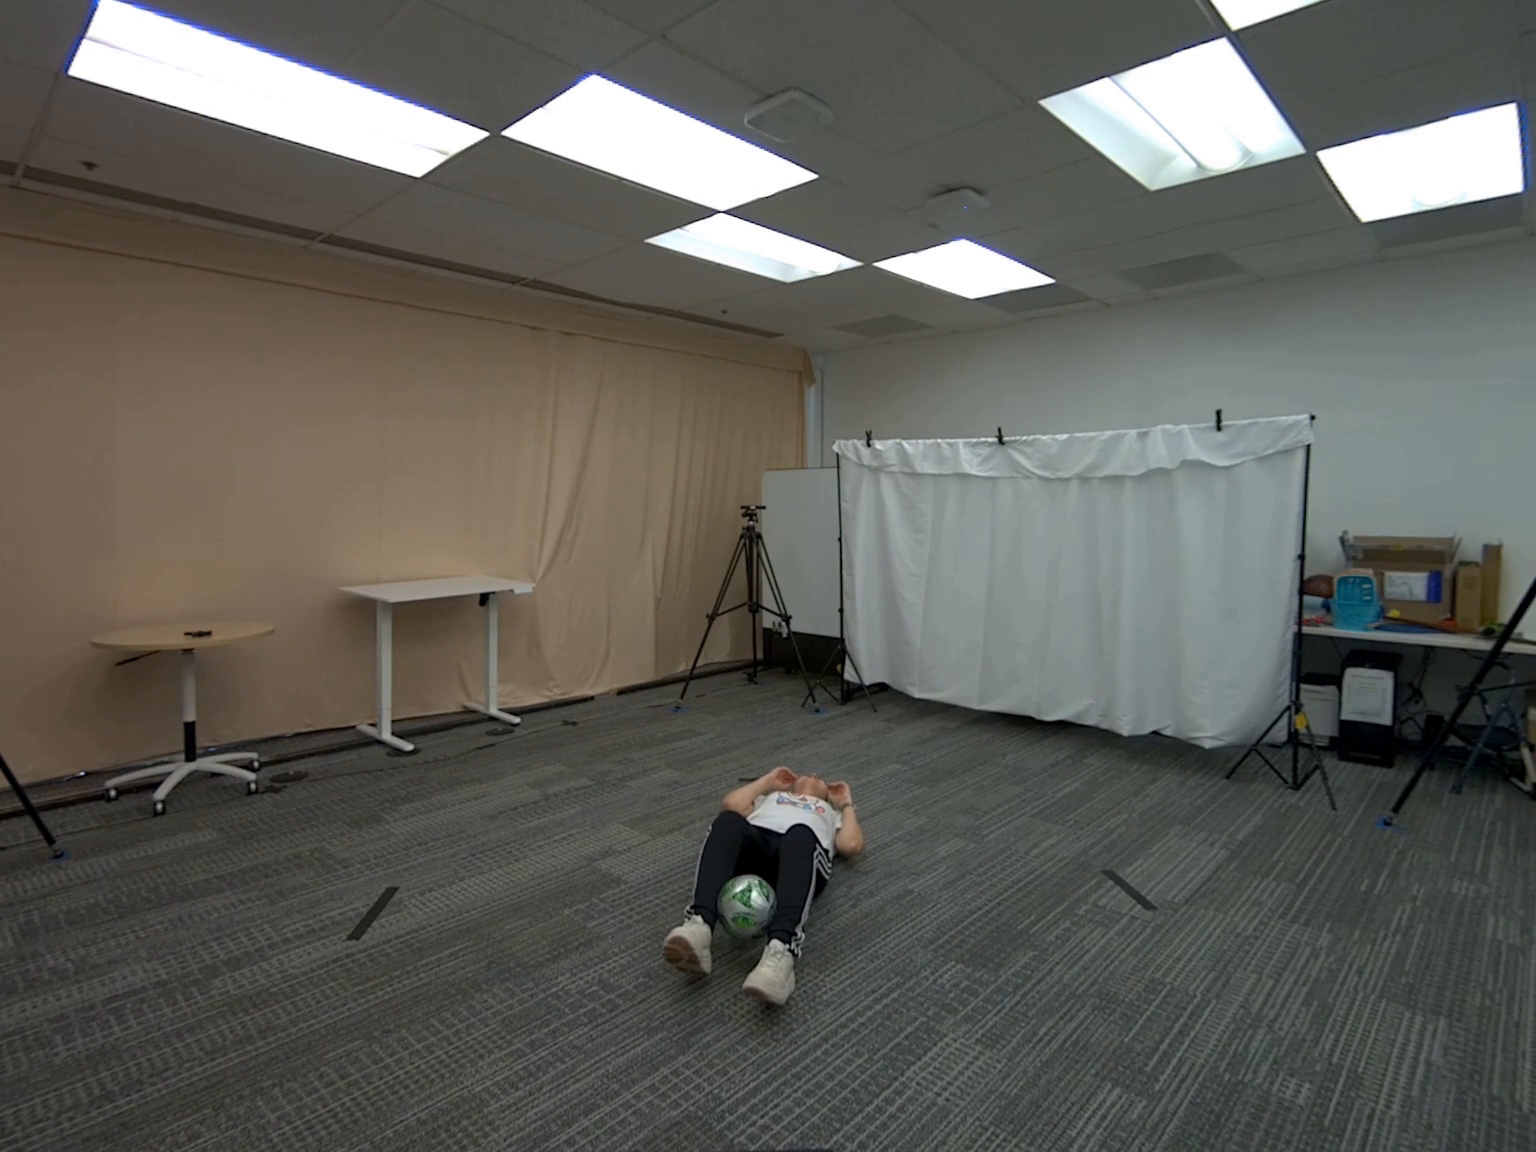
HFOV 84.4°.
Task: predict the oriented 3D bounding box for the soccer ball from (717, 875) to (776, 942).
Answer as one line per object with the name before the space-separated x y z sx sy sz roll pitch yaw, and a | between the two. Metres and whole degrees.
soccer ball | -0.058 0.992 2.553 0.187 0.187 0.188 0 4 -2
